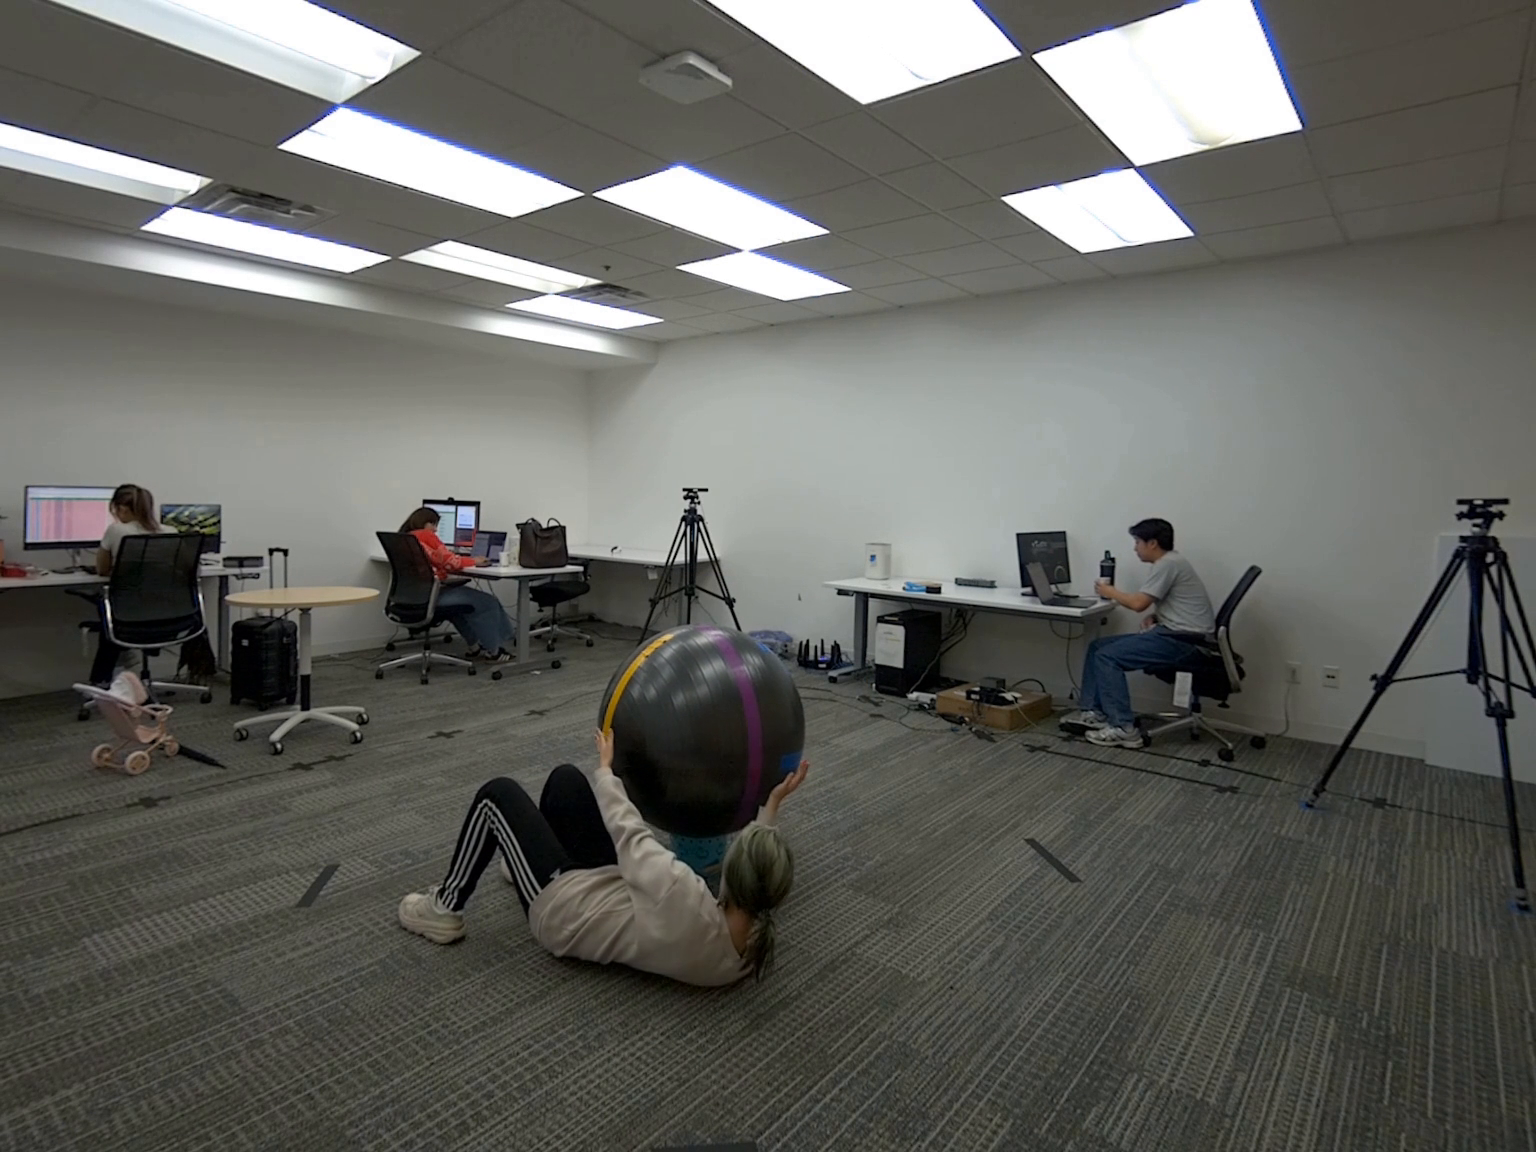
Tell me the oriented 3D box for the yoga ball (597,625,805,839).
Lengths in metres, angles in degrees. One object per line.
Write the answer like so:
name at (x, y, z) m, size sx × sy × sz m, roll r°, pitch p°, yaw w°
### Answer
yoga ball at (-0.254, 0.553, 3.112) m, size 0.757 × 0.755 × 0.762 m, roll 1°, pitch 4°, yaw -2°
